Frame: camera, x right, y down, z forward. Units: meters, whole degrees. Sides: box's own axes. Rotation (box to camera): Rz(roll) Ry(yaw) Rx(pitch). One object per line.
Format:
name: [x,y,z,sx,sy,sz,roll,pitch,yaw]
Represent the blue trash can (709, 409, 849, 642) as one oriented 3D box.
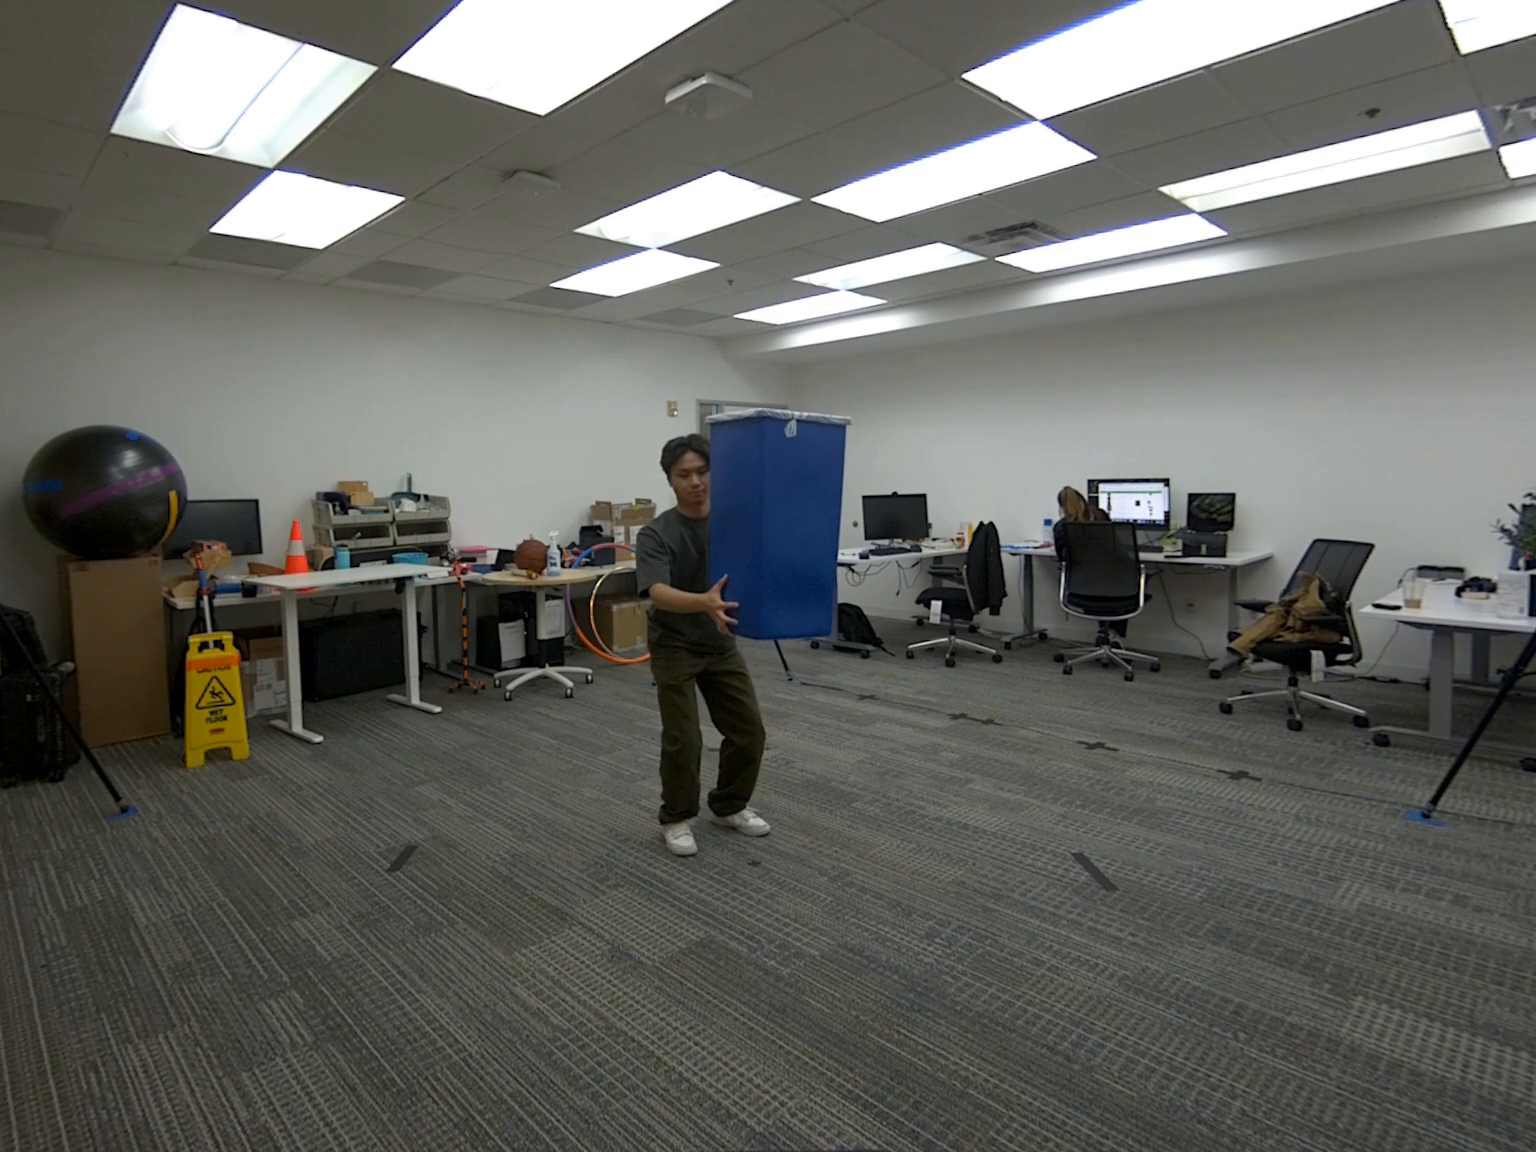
blue trash can: [0.027,-0.177,2.841,0.364,0.712,0.389,0,3,-32]
